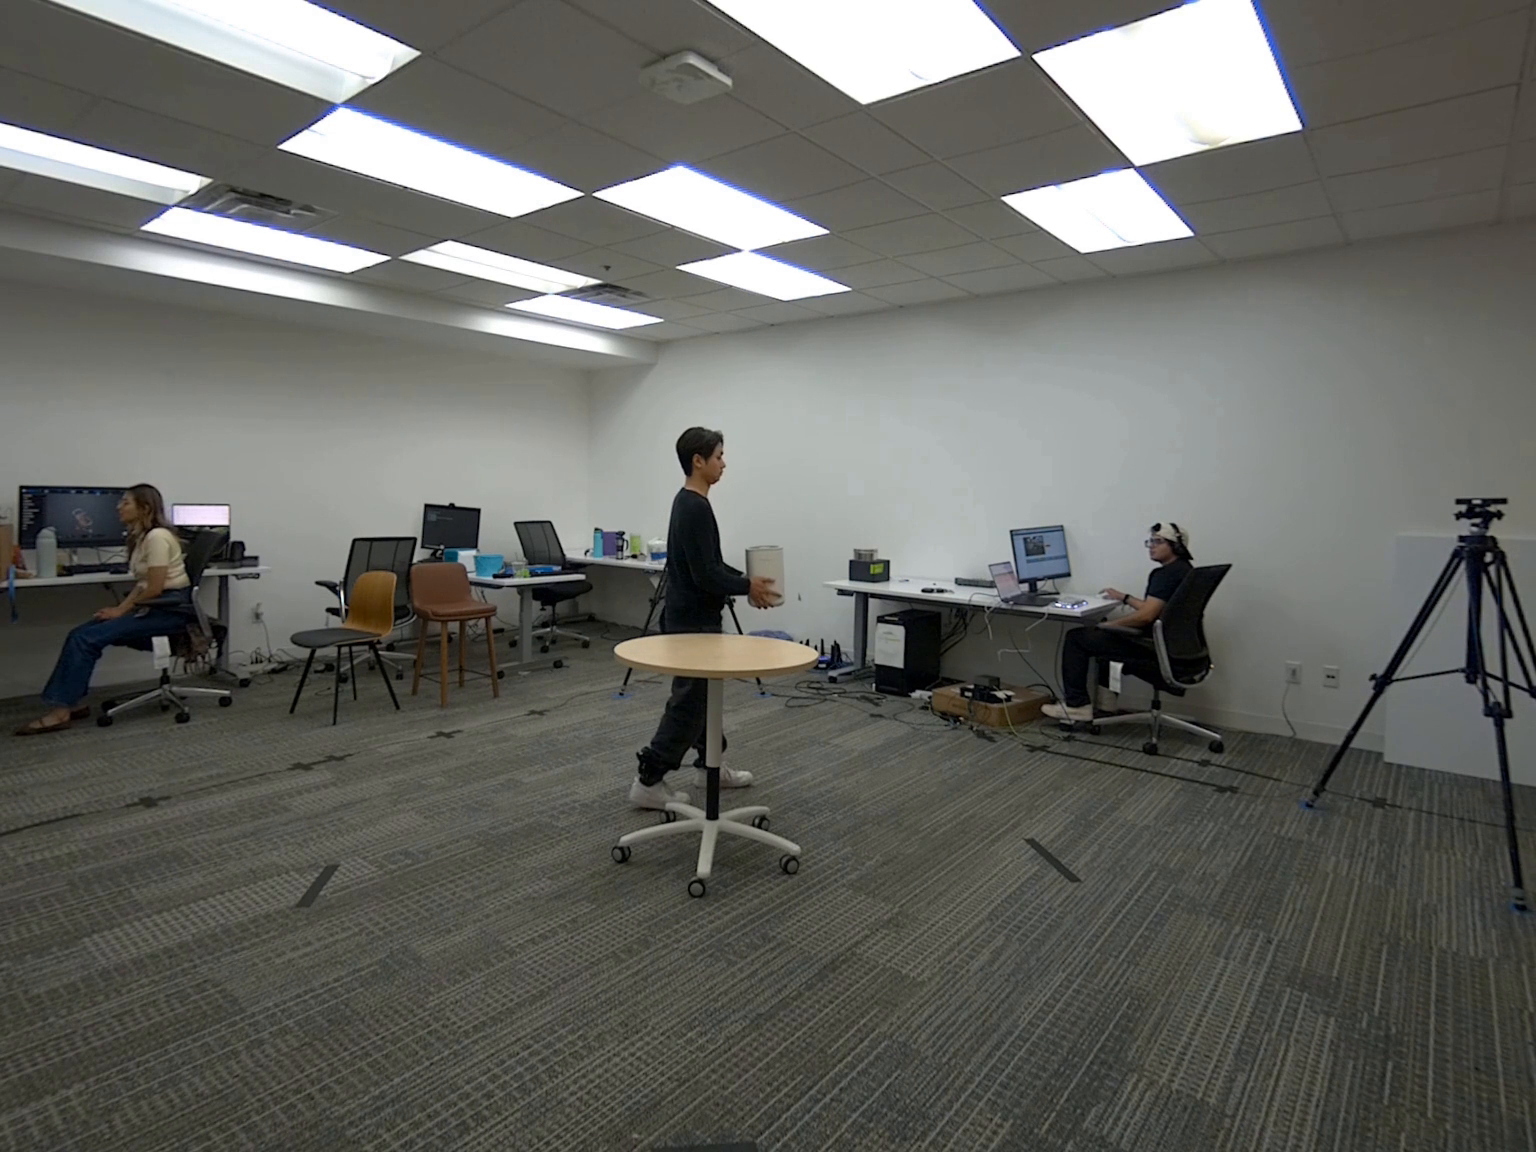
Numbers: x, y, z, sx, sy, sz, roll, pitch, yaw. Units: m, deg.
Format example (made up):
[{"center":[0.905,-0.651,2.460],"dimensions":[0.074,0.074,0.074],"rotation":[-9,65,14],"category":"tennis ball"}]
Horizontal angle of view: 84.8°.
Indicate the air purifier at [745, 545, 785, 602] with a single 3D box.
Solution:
[{"center":[-0.030,-0.005,3.862],"dimensions":[0.171,0.264,0.173],"rotation":[-4,6,-2],"category":"air purifier"}]
